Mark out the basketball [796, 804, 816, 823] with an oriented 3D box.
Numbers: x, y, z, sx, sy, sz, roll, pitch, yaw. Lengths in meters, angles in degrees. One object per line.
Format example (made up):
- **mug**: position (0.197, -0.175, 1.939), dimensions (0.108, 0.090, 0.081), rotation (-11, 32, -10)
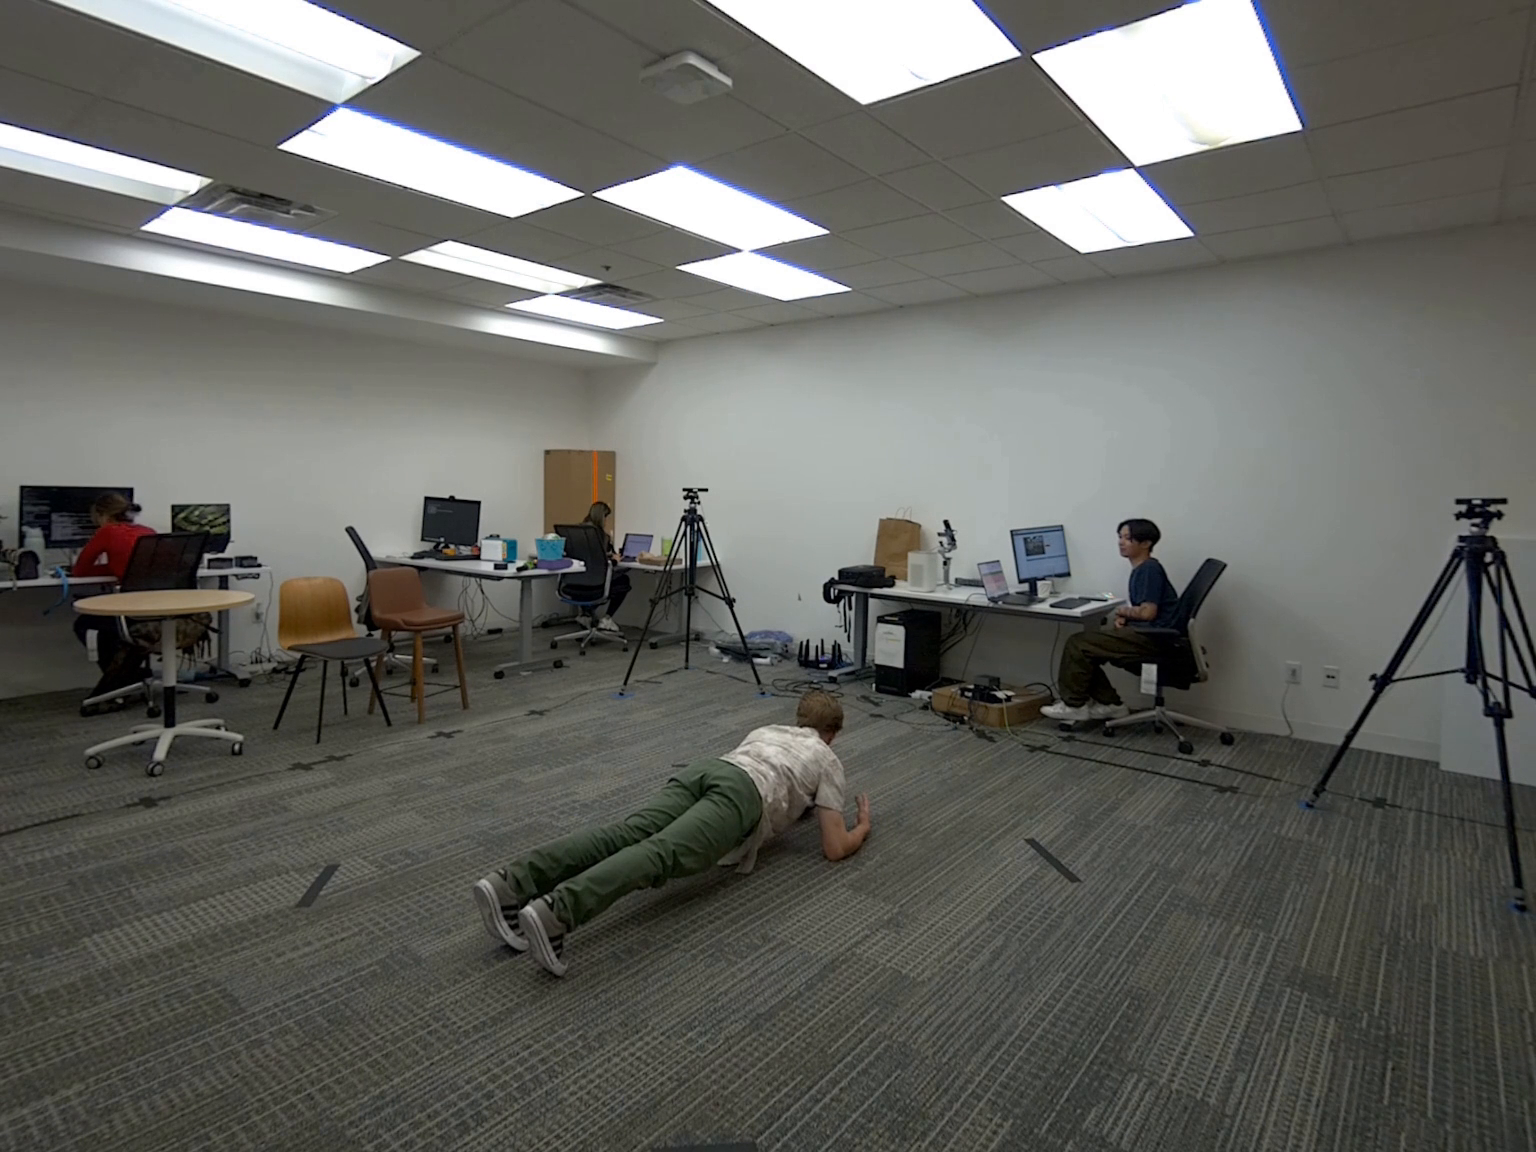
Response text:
- **basketball**: position (0.127, 0.897, 3.669), dimensions (0.235, 0.235, 0.237), rotation (1, 4, -2)
